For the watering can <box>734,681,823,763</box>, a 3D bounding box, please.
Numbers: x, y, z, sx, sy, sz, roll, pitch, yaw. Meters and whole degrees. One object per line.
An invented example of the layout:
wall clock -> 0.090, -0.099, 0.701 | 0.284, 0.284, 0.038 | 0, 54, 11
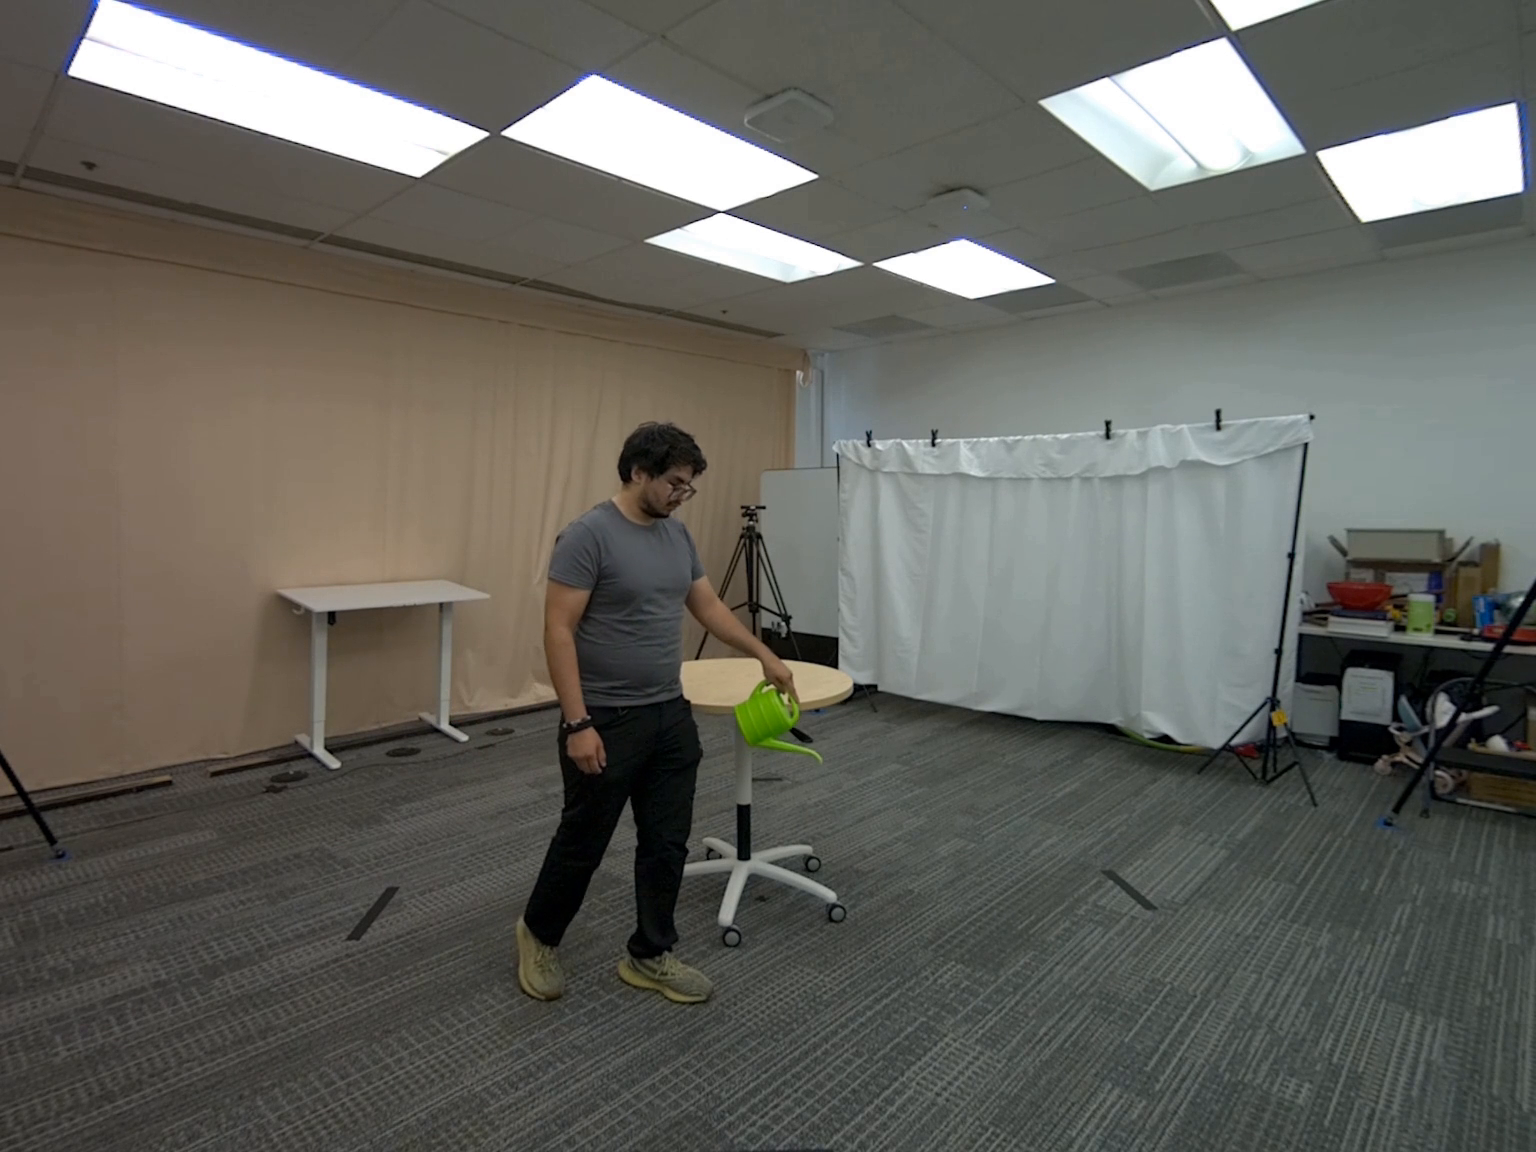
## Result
watering can -> 0.020, 0.429, 2.373 | 0.177, 0.287, 0.095 | -28, -38, 3
